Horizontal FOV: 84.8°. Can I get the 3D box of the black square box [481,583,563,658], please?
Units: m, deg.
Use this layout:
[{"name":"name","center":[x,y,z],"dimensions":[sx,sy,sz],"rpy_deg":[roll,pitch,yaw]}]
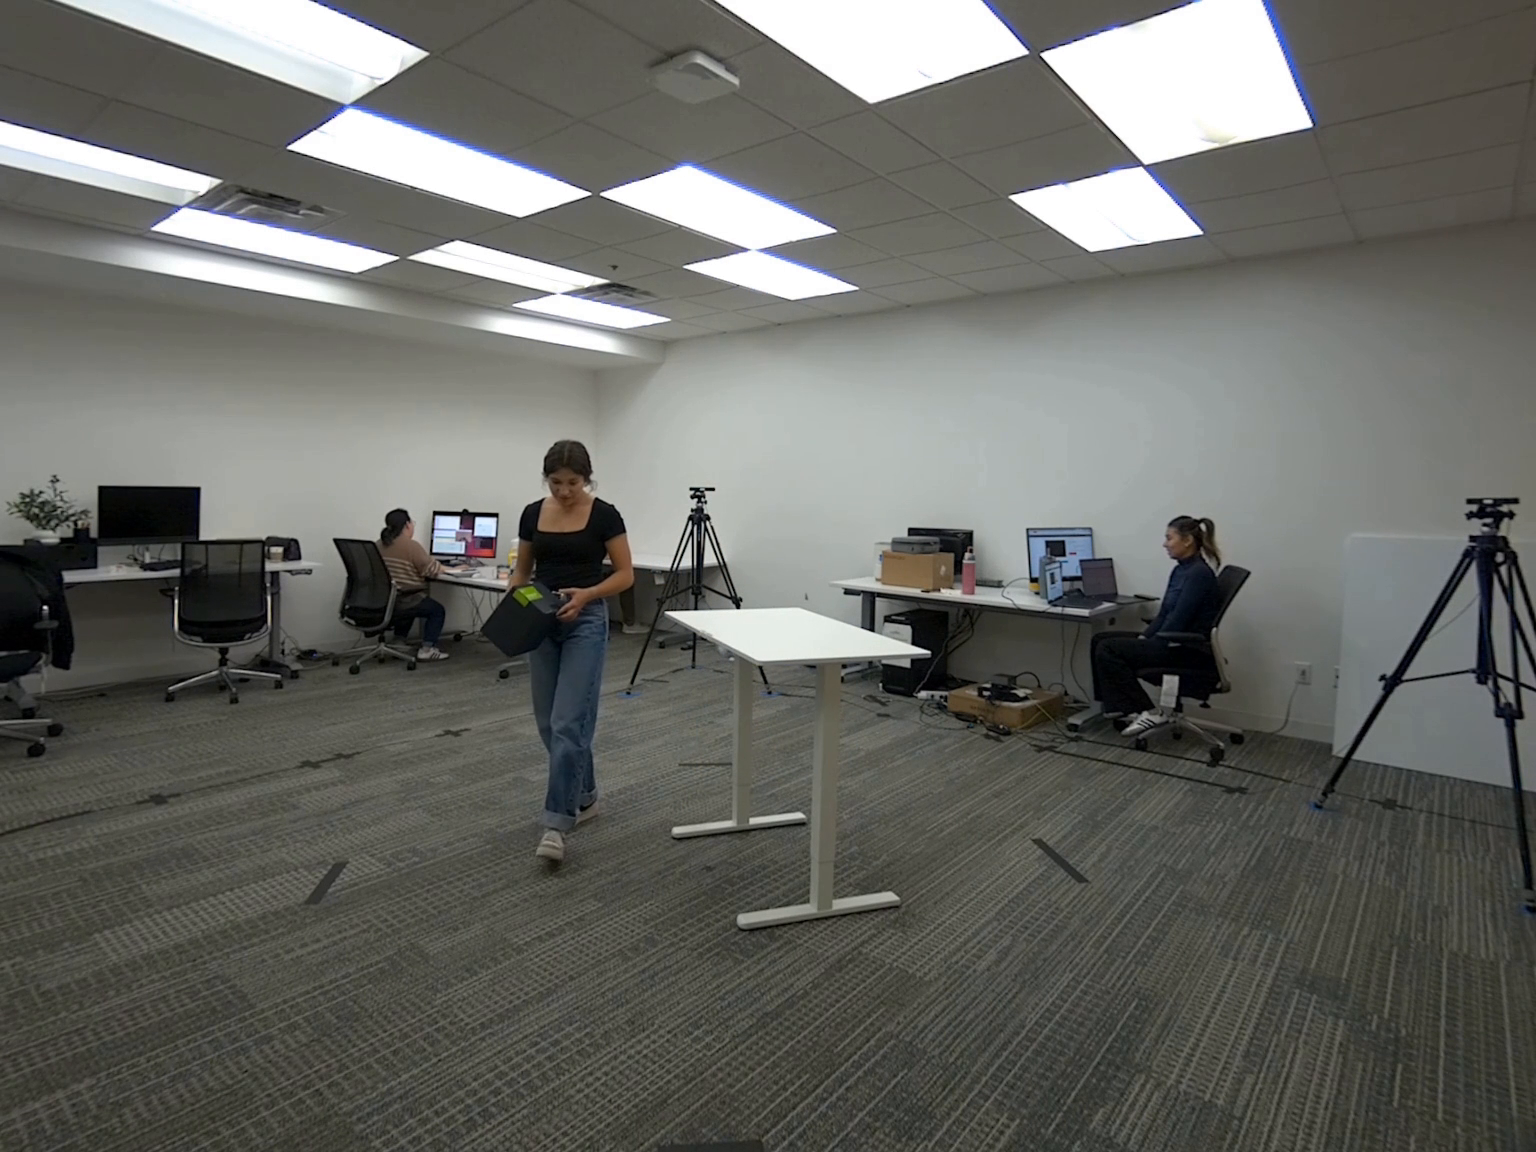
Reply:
[{"name":"black square box","center":[-0.922,0.152,3.159],"dimensions":[0.158,0.217,0.225],"rpy_deg":[41,8,6]}]
